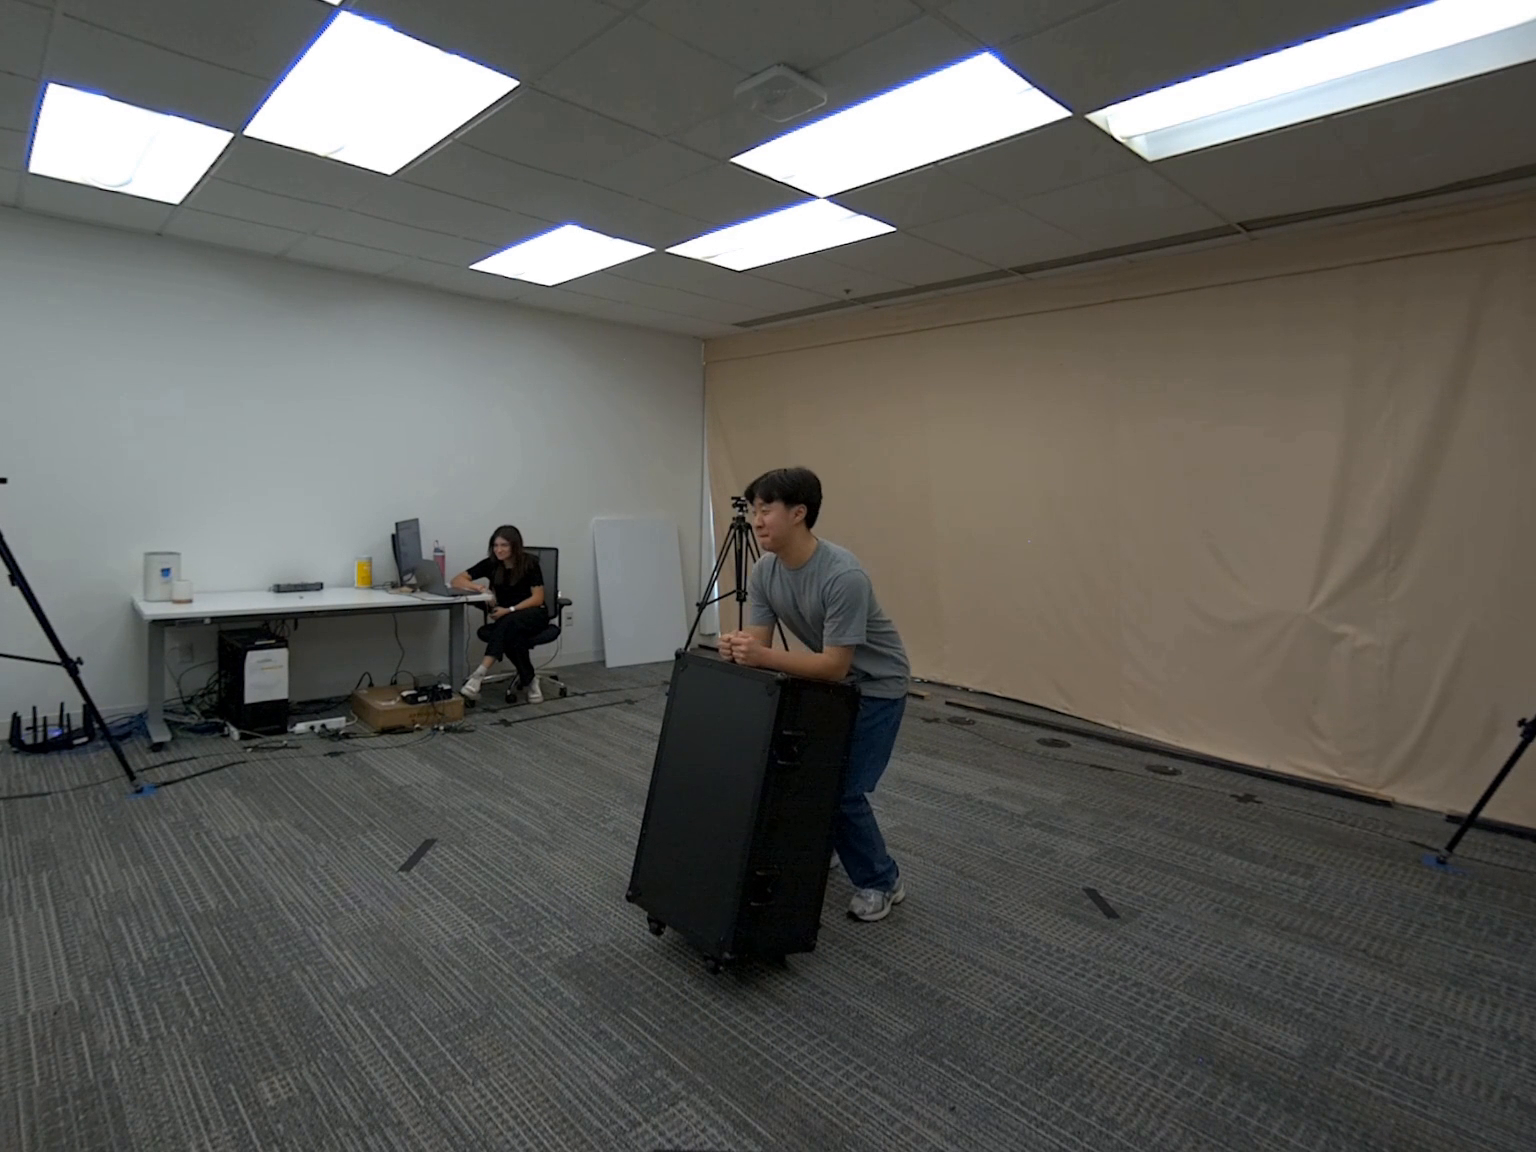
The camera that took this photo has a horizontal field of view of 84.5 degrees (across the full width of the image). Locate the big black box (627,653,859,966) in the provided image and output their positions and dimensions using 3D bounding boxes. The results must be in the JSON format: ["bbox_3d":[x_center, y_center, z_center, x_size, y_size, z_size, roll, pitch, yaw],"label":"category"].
[{"bbox_3d":[-0.084,0.709,2.575,0.385,0.864,0.534,17,-8,-43],"label":"big black box"}]
